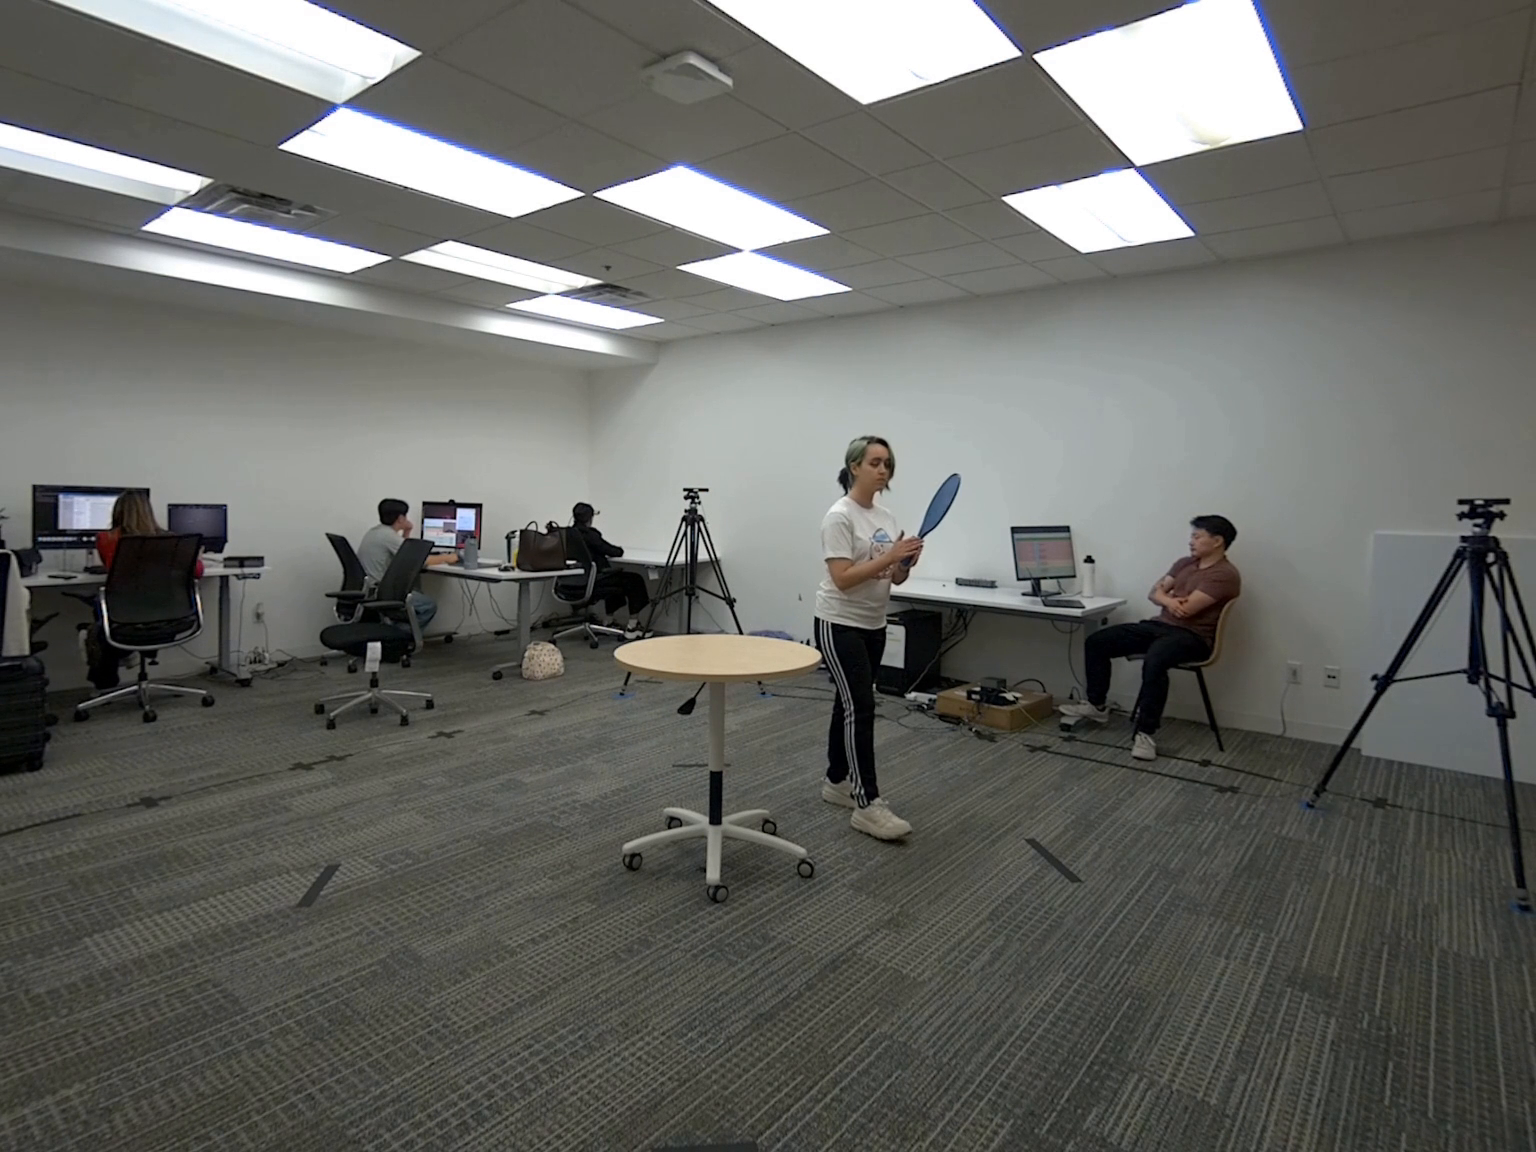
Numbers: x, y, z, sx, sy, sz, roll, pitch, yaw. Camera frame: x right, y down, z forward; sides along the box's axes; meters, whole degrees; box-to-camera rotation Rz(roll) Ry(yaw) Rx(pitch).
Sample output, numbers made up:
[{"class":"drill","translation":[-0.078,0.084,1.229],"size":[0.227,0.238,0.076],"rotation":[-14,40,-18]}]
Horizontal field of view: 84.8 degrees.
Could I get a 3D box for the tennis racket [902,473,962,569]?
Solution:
[{"class":"tennis racket","translation":[0.631,-0.236,3.422],"size":[0.031,0.429,0.218],"rotation":[22,30,-11]}]
